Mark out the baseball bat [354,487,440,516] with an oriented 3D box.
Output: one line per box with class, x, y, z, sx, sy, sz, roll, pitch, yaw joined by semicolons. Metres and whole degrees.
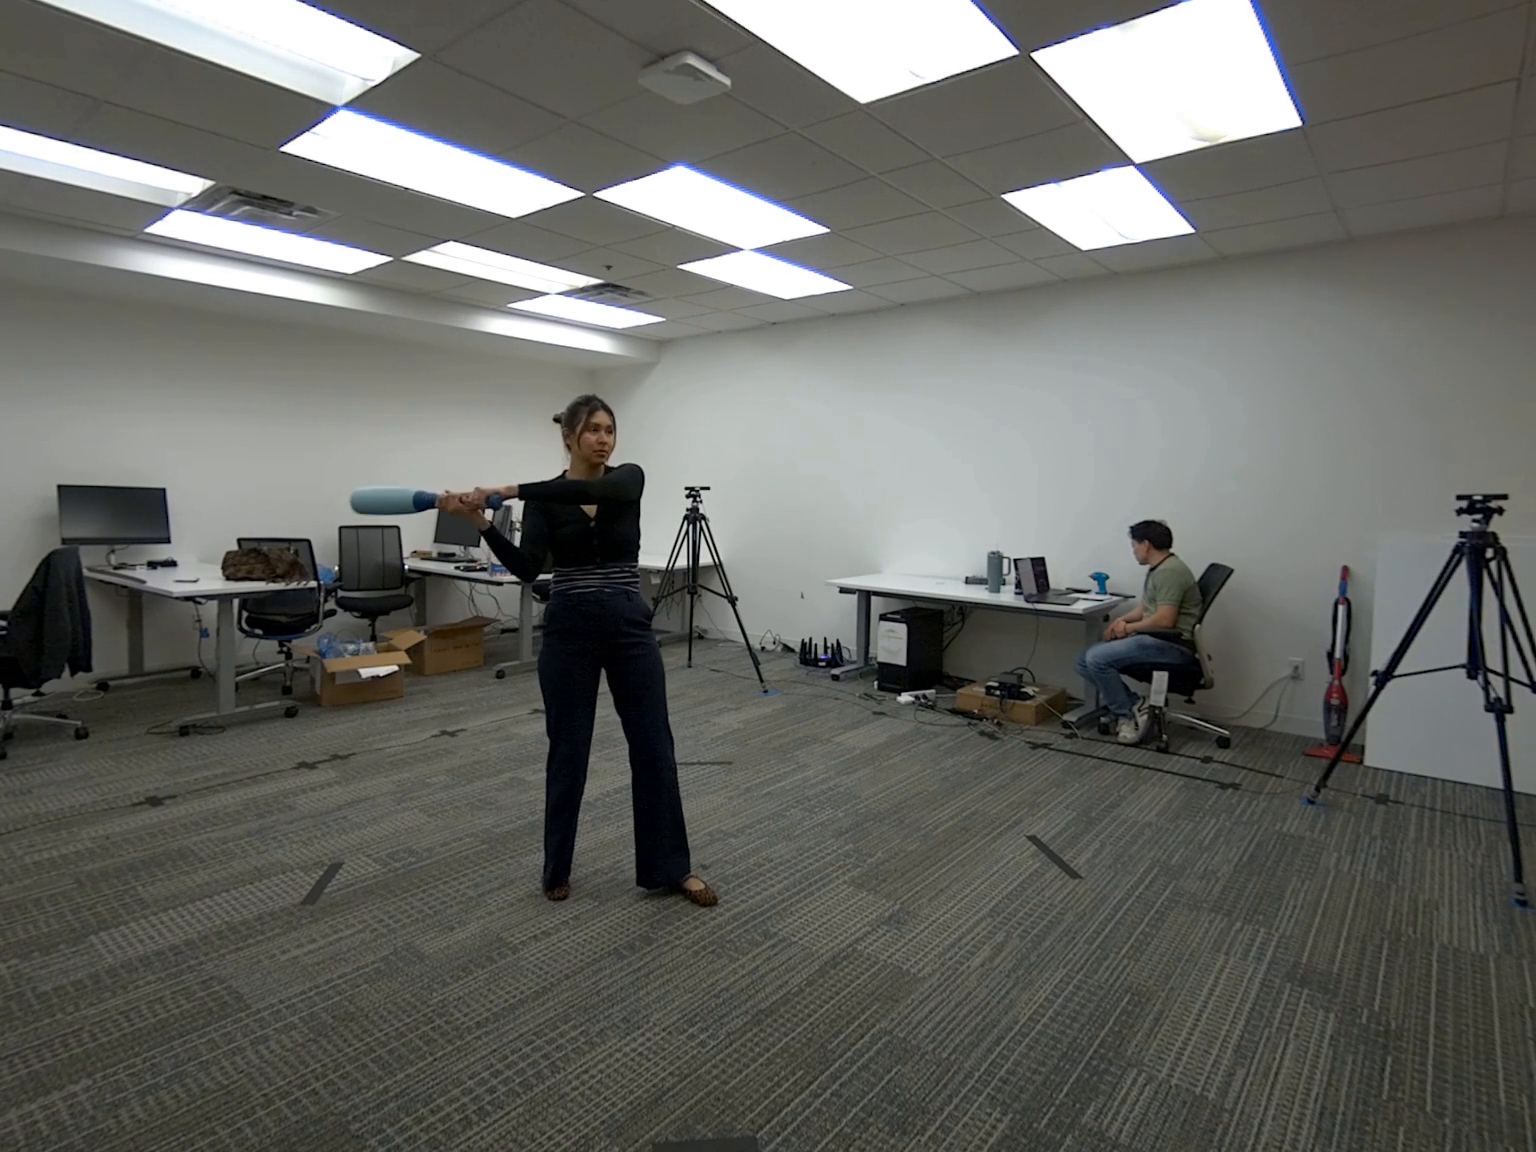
baseball bat;-1.011;-0.231;2.613;0.554;0.089;0.087;1;4;20
